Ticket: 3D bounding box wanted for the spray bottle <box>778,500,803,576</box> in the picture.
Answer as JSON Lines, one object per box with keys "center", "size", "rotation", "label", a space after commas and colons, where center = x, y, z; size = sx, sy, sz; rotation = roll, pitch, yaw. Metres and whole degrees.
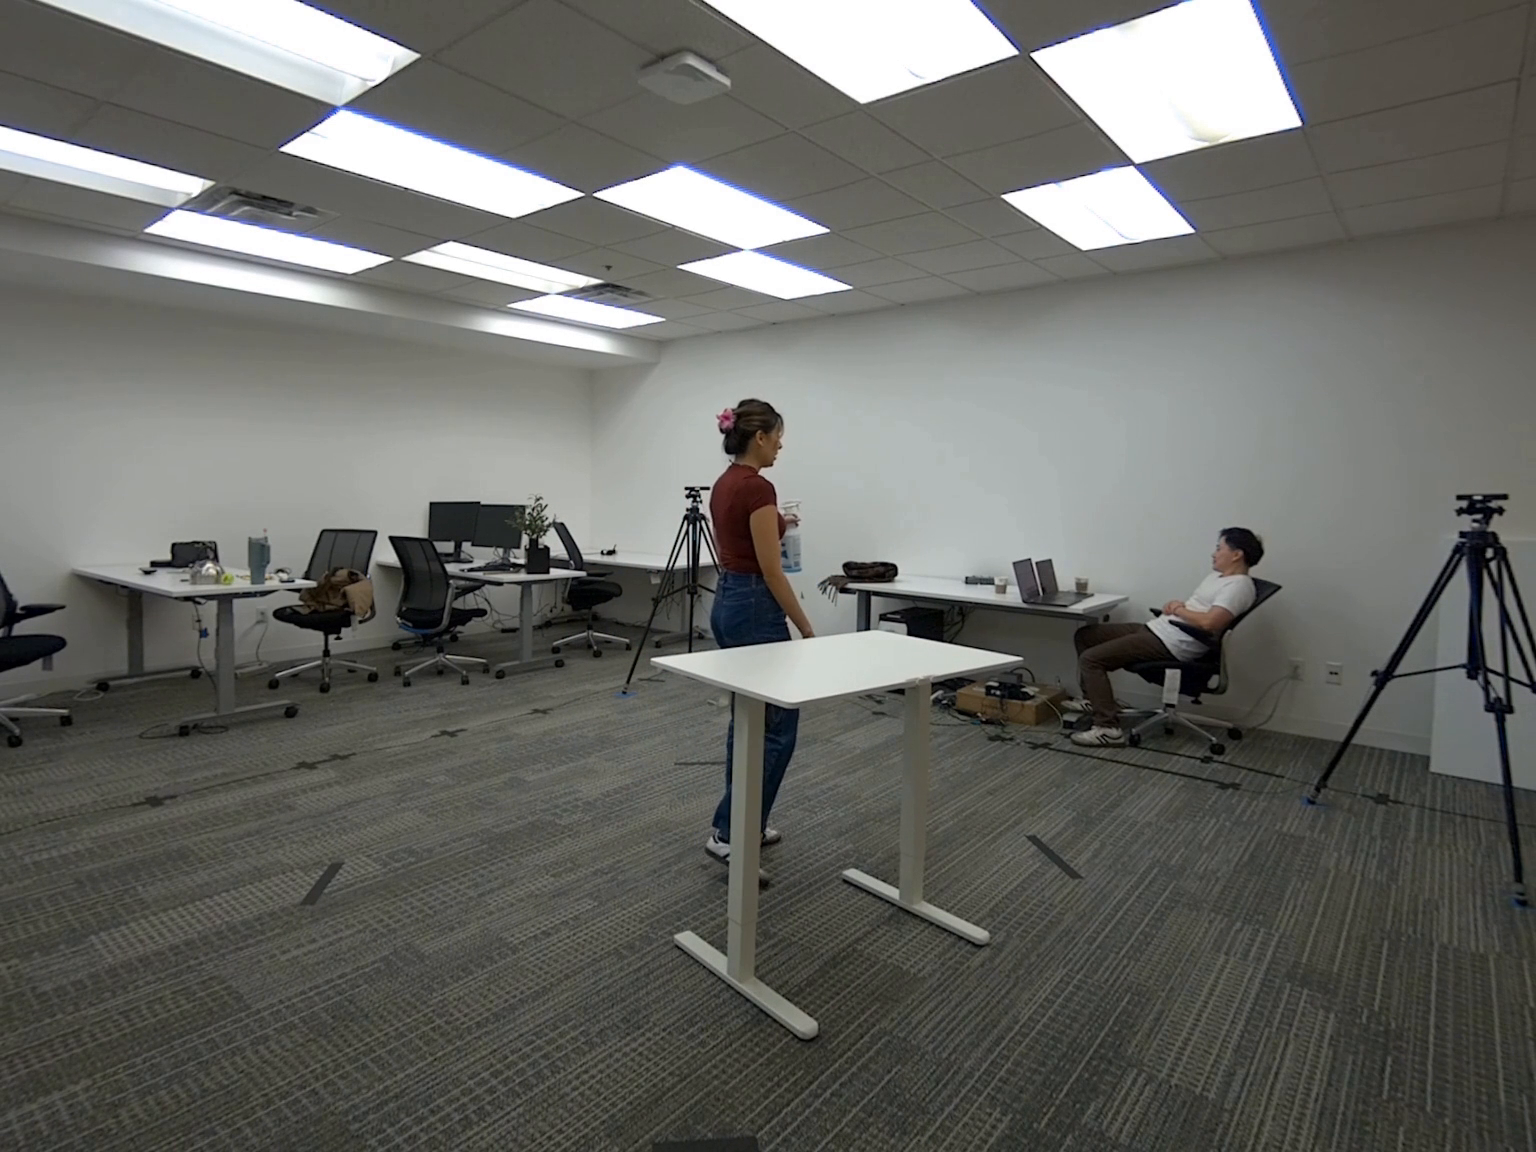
{"center": [0.085, -0.165, 3.508], "size": [0.093, 0.297, 0.084], "rotation": [1, 3, 34], "label": "spray bottle"}
